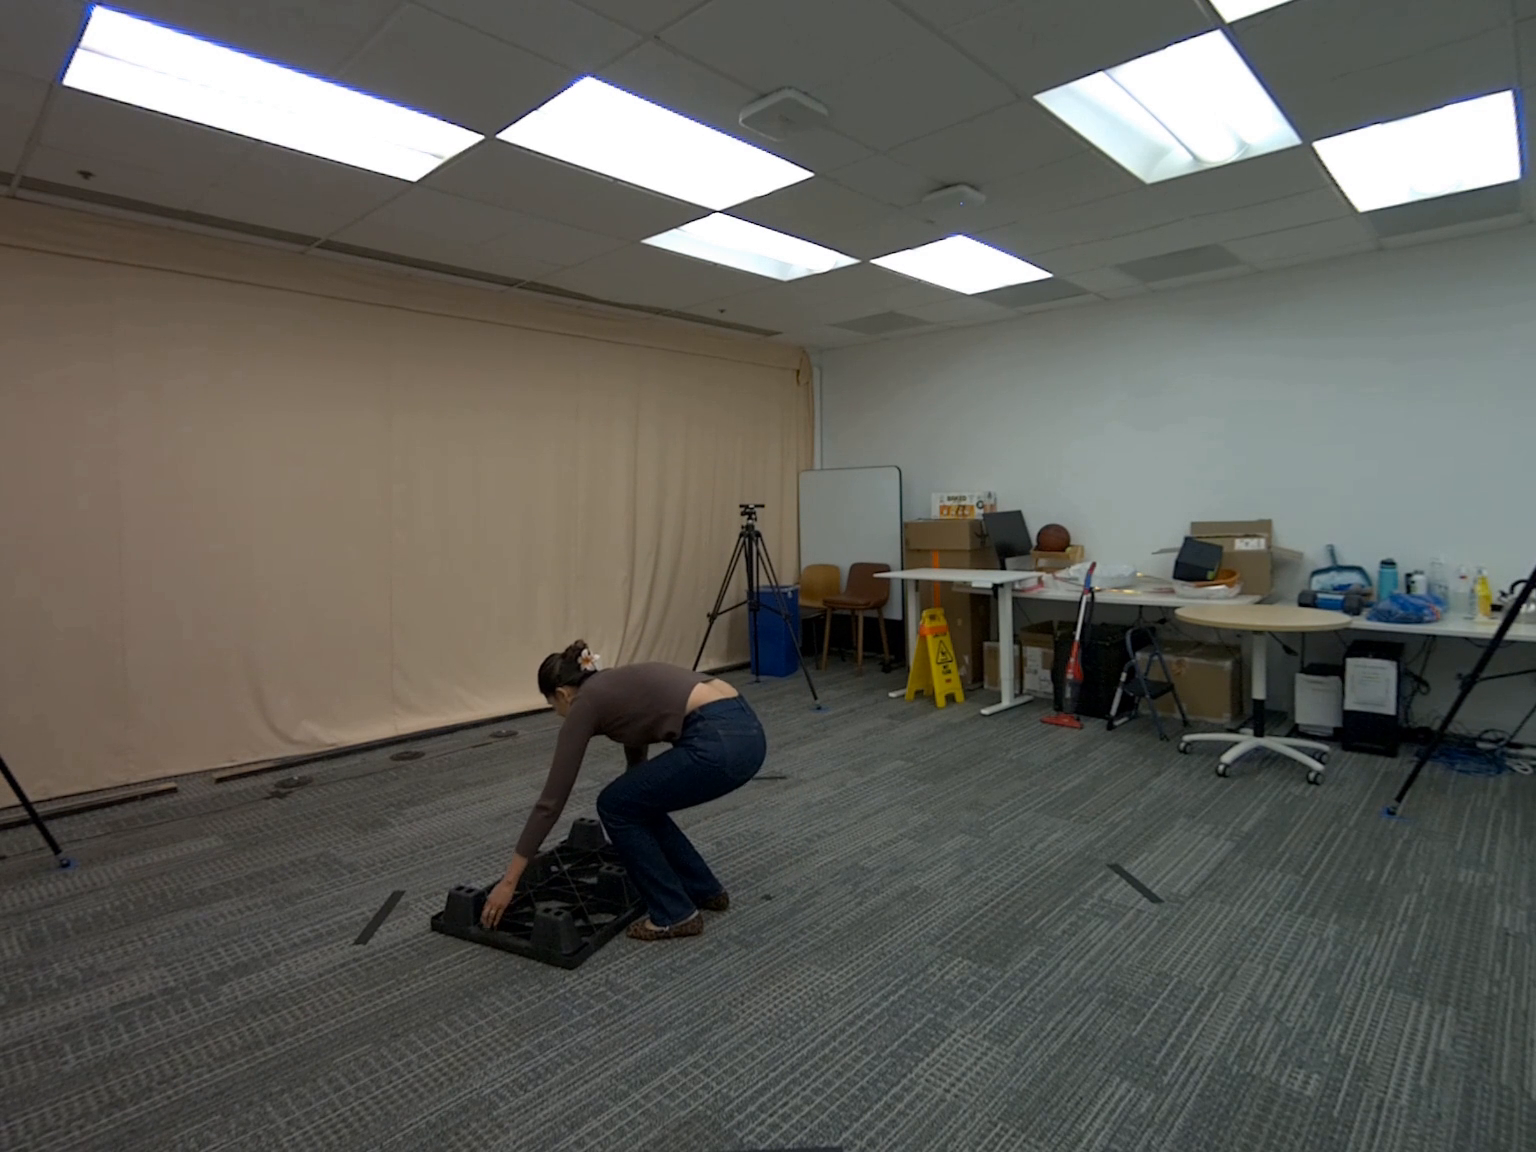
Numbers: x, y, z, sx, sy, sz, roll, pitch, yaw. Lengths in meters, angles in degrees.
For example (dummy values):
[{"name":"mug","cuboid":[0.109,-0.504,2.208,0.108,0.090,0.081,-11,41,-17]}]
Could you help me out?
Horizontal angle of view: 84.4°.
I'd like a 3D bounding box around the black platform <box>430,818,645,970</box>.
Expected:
[{"name":"black platform","cuboid":[-0.704,1.087,3.021,0.621,0.143,0.787,2,5,25]}]
